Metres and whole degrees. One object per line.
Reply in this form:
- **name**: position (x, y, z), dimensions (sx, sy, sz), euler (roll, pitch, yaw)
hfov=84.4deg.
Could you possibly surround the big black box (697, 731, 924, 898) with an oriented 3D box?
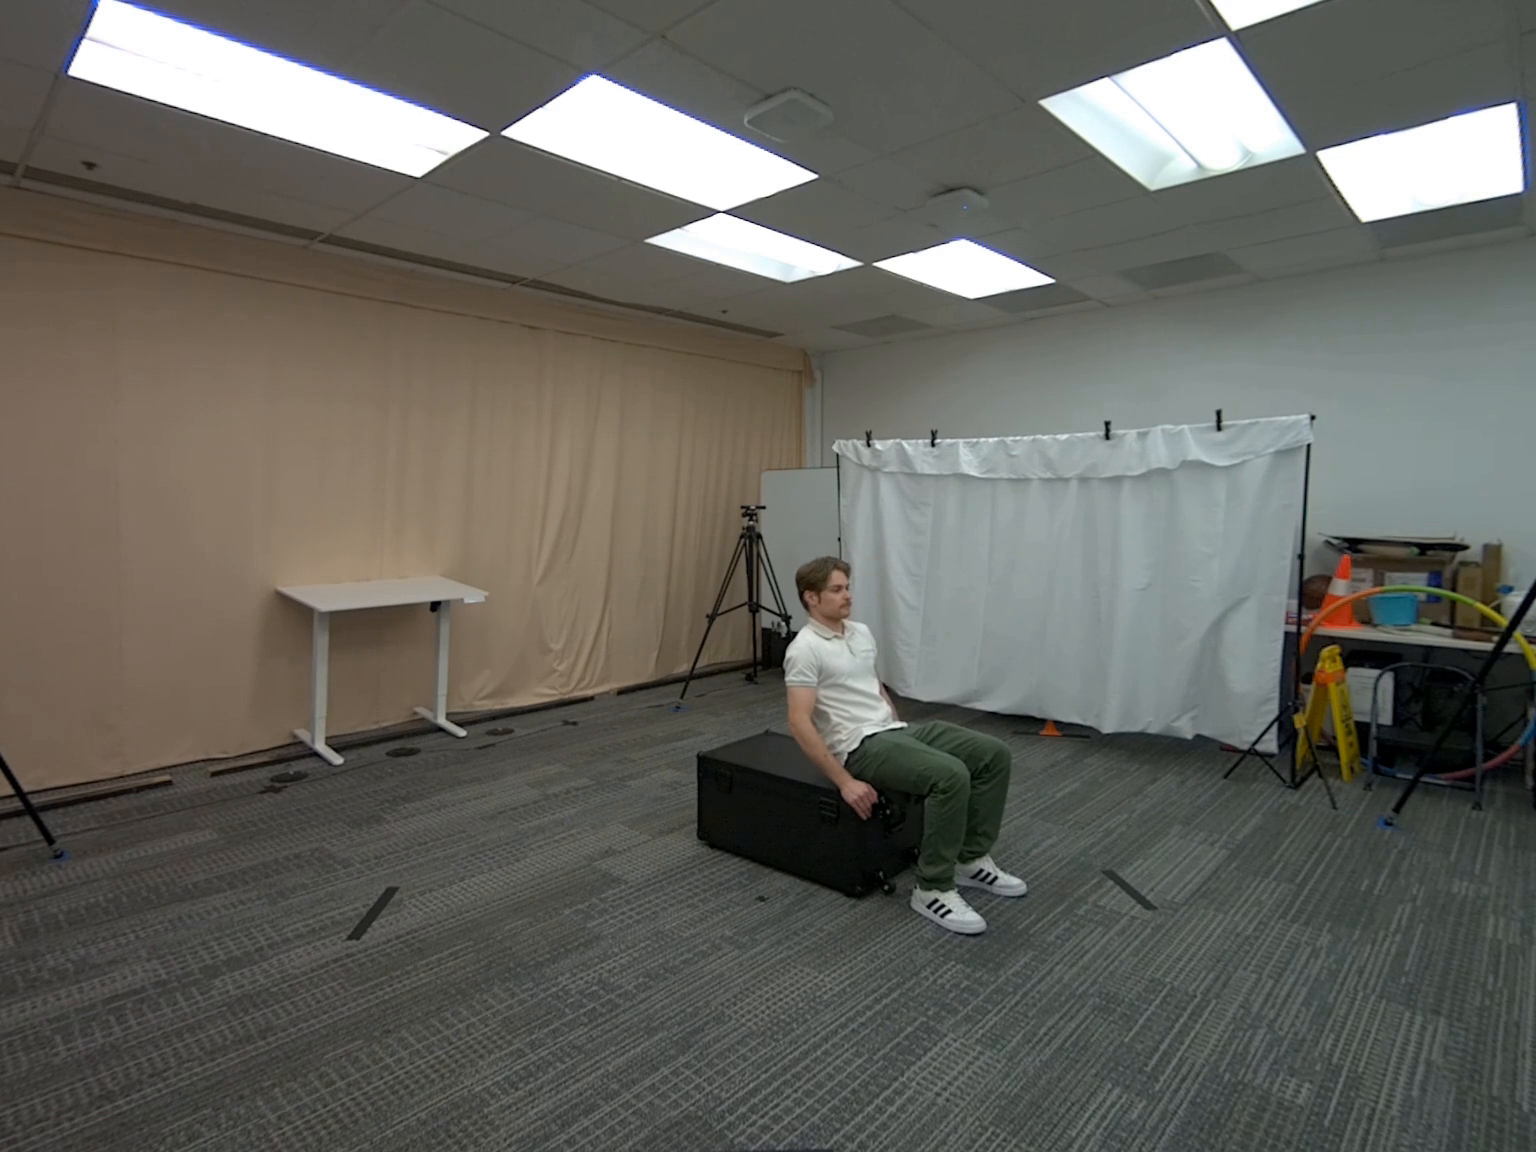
- **big black box**: position (0.191, 0.919, 3.347), dimensions (0.897, 0.384, 0.507), euler (5, 5, 39)
